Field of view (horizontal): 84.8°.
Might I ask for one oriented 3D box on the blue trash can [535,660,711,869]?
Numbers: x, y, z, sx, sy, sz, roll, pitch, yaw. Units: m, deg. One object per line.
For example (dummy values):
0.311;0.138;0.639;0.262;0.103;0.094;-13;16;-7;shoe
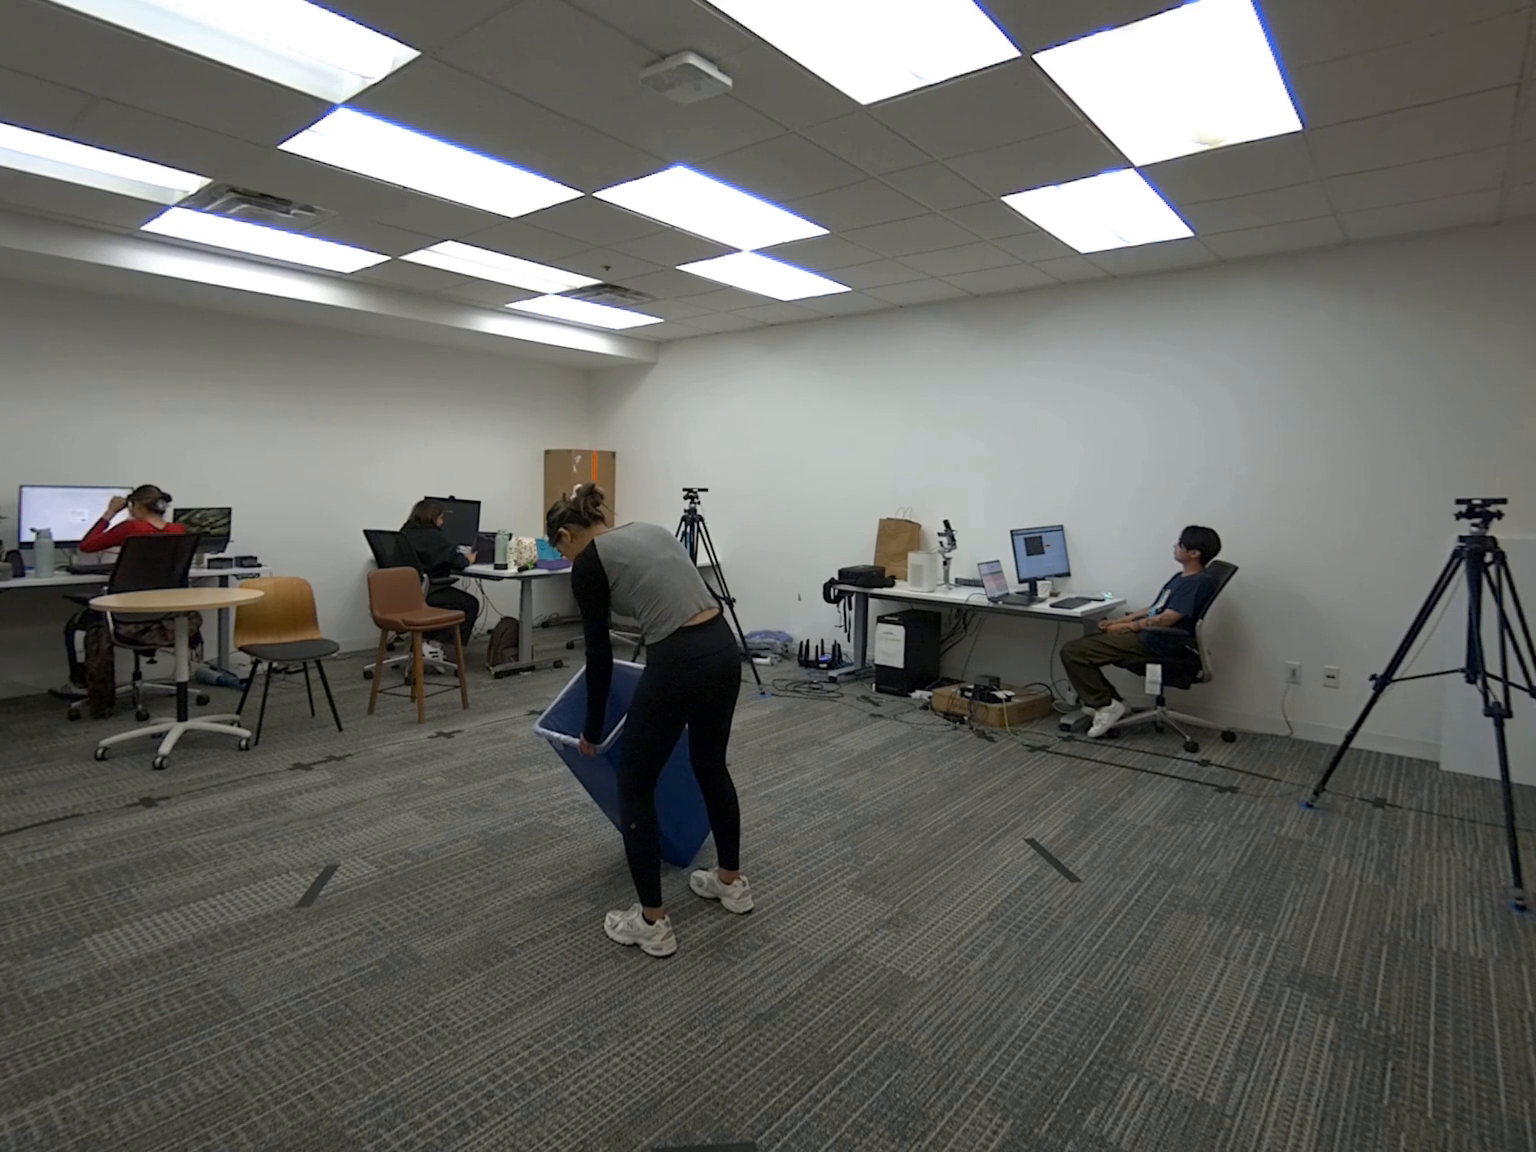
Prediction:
-0.481;0.687;3.110;0.391;0.689;0.375;5;43;38;blue trash can
